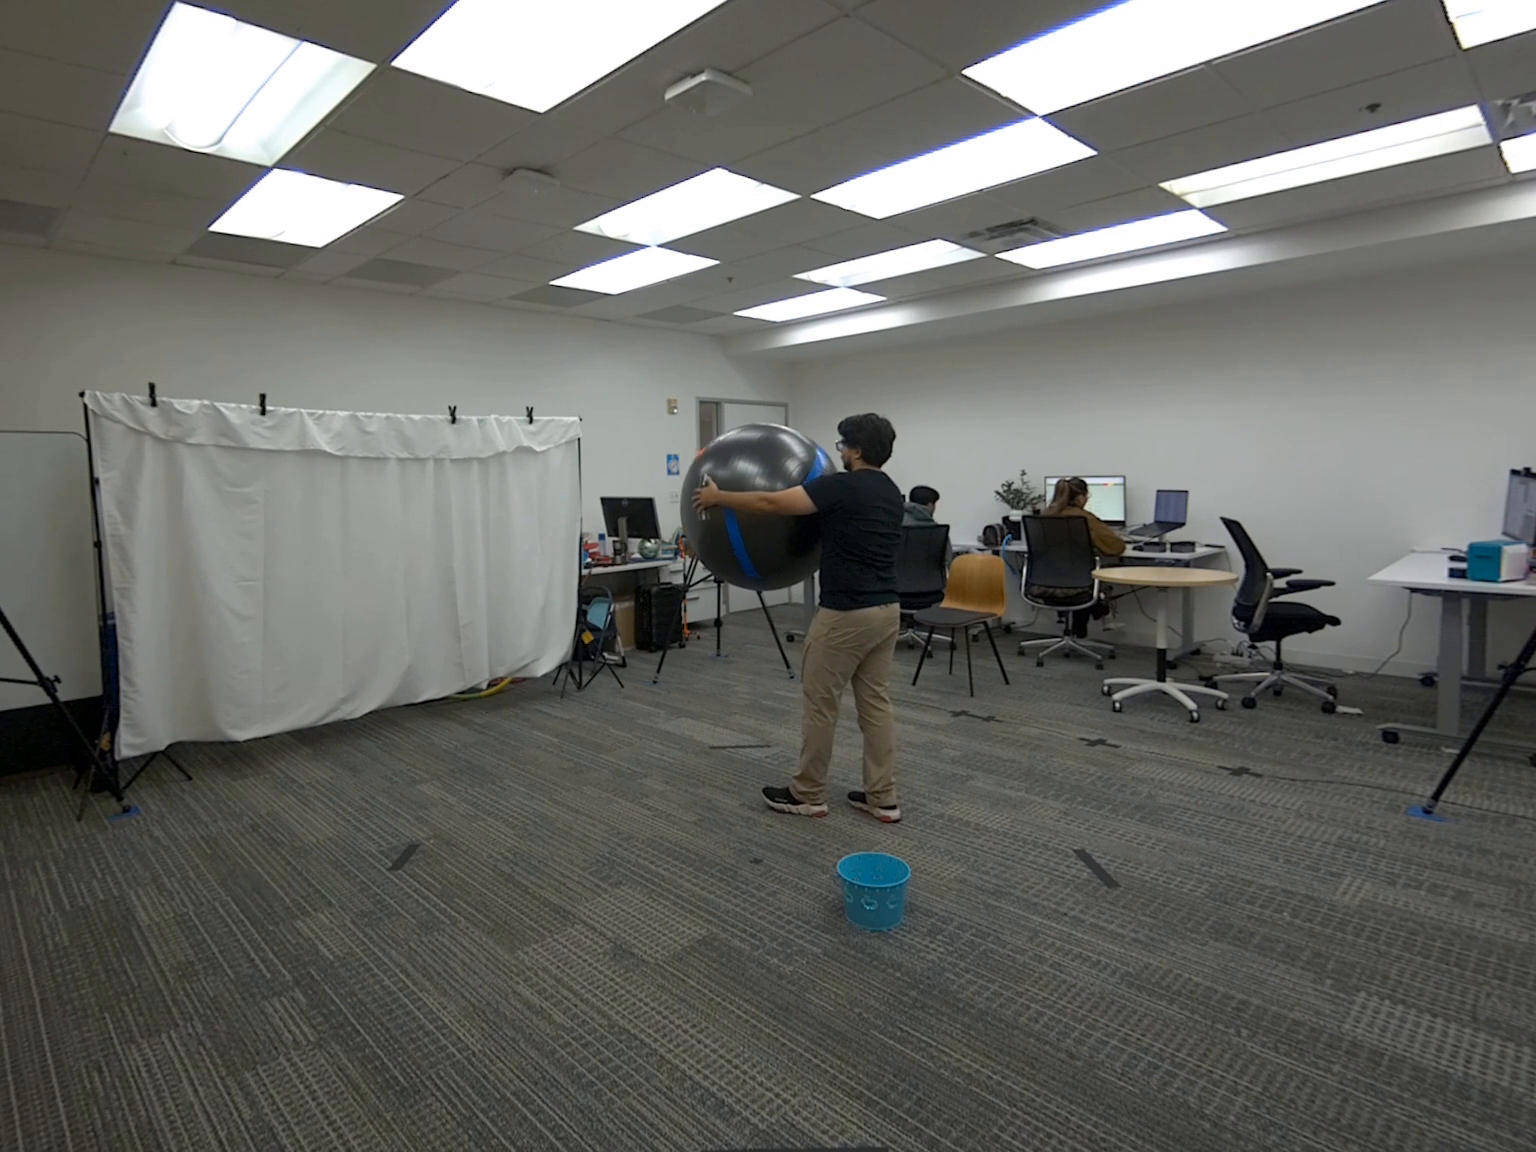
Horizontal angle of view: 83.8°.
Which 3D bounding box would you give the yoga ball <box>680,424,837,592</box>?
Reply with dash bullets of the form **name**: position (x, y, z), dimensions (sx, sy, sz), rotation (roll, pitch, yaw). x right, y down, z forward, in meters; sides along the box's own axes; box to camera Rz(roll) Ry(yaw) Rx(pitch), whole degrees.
- **yoga ball**: position (-0.027, -0.306, 3.900), dimensions (0.757, 0.755, 0.762), rotation (-1, 5, -2)
